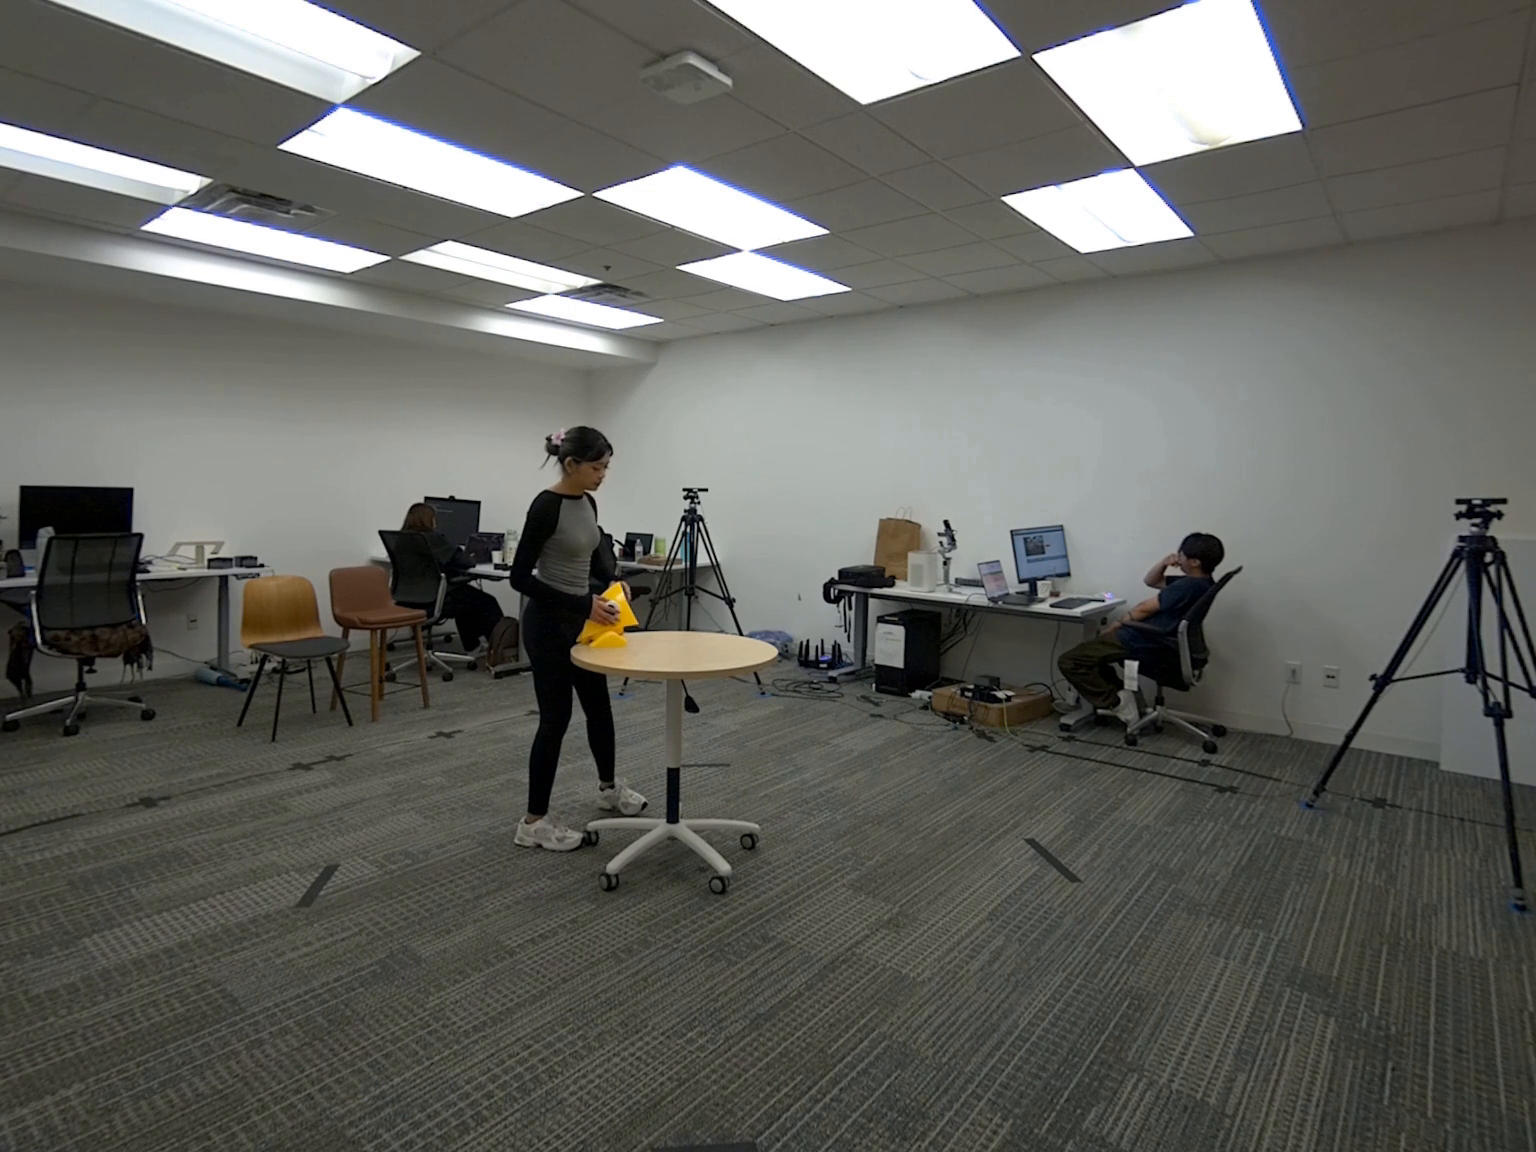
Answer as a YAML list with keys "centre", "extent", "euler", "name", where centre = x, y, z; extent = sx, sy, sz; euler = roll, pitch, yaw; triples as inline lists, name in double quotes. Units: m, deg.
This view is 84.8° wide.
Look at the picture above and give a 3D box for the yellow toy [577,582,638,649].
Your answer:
- centre: [-0.644, 0.143, 3.267]
  extent: [0.187, 0.230, 0.211]
  euler: [-1, 5, -35]
  name: "yellow toy"
